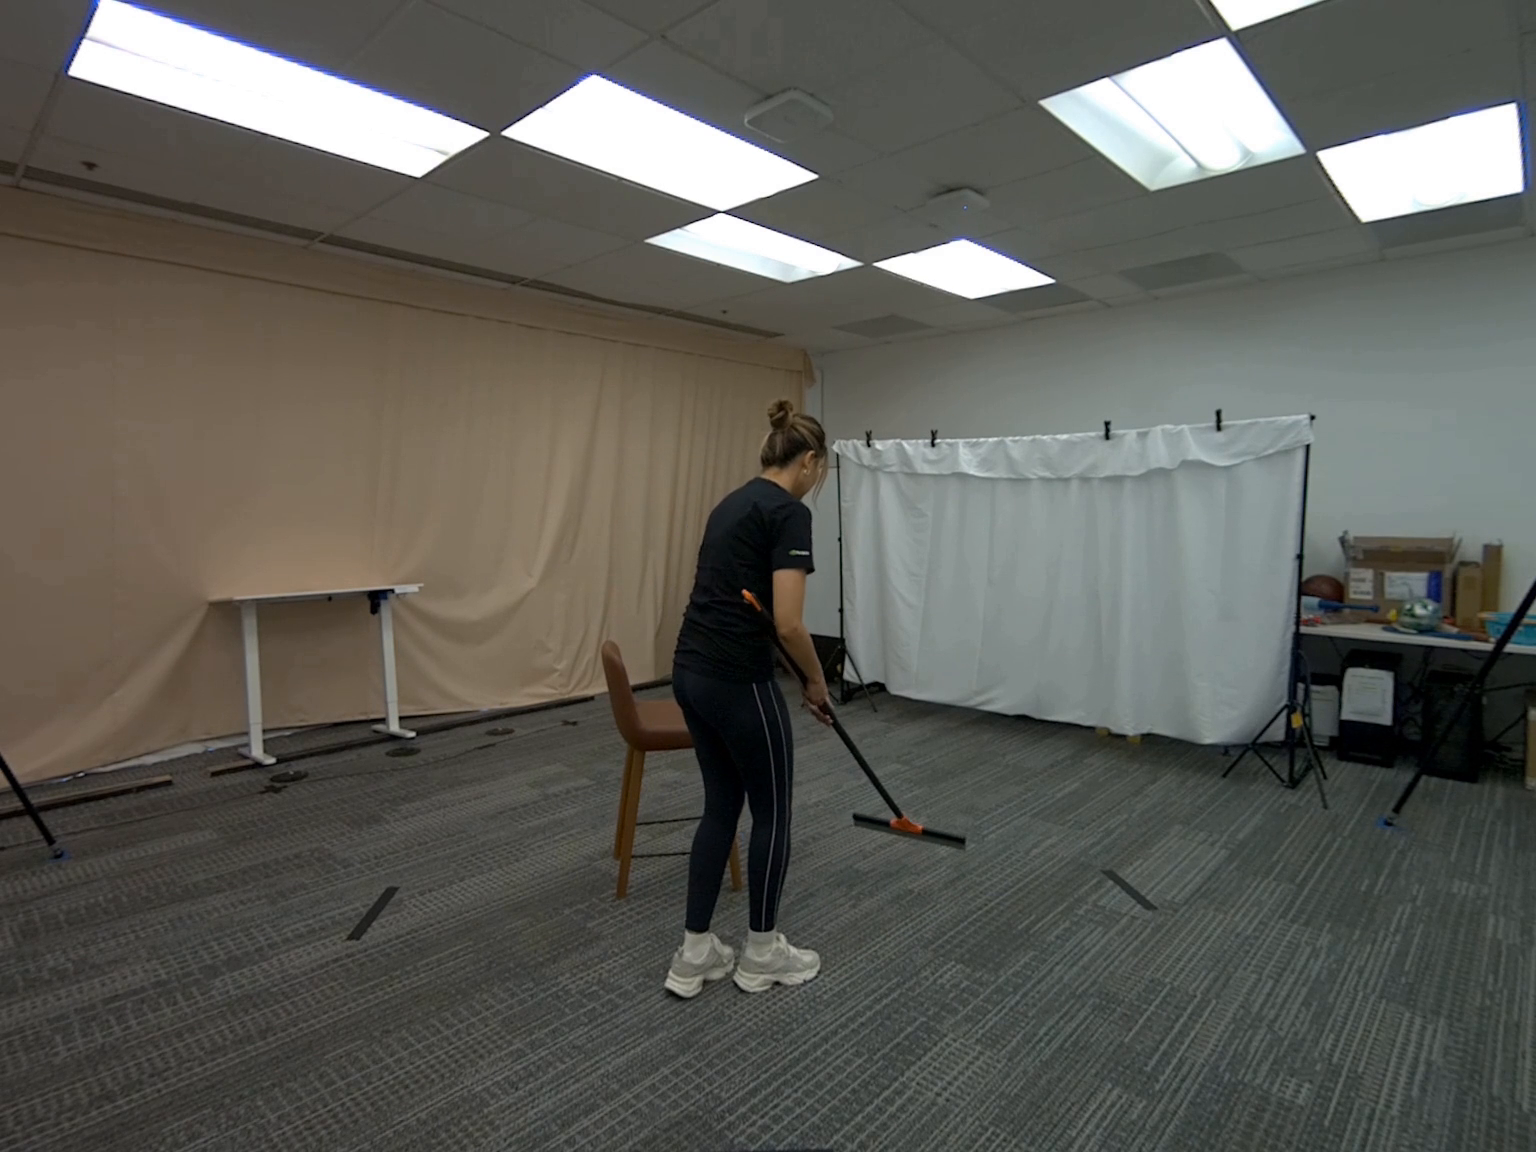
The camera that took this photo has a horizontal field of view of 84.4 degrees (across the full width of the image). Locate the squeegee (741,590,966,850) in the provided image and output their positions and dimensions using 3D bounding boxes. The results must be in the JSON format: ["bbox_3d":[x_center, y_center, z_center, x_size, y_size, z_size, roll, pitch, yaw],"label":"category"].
[{"bbox_3d":[0.260,0.512,2.639,0.451,0.053,1.487,5,-35,31],"label":"squeegee"}]
